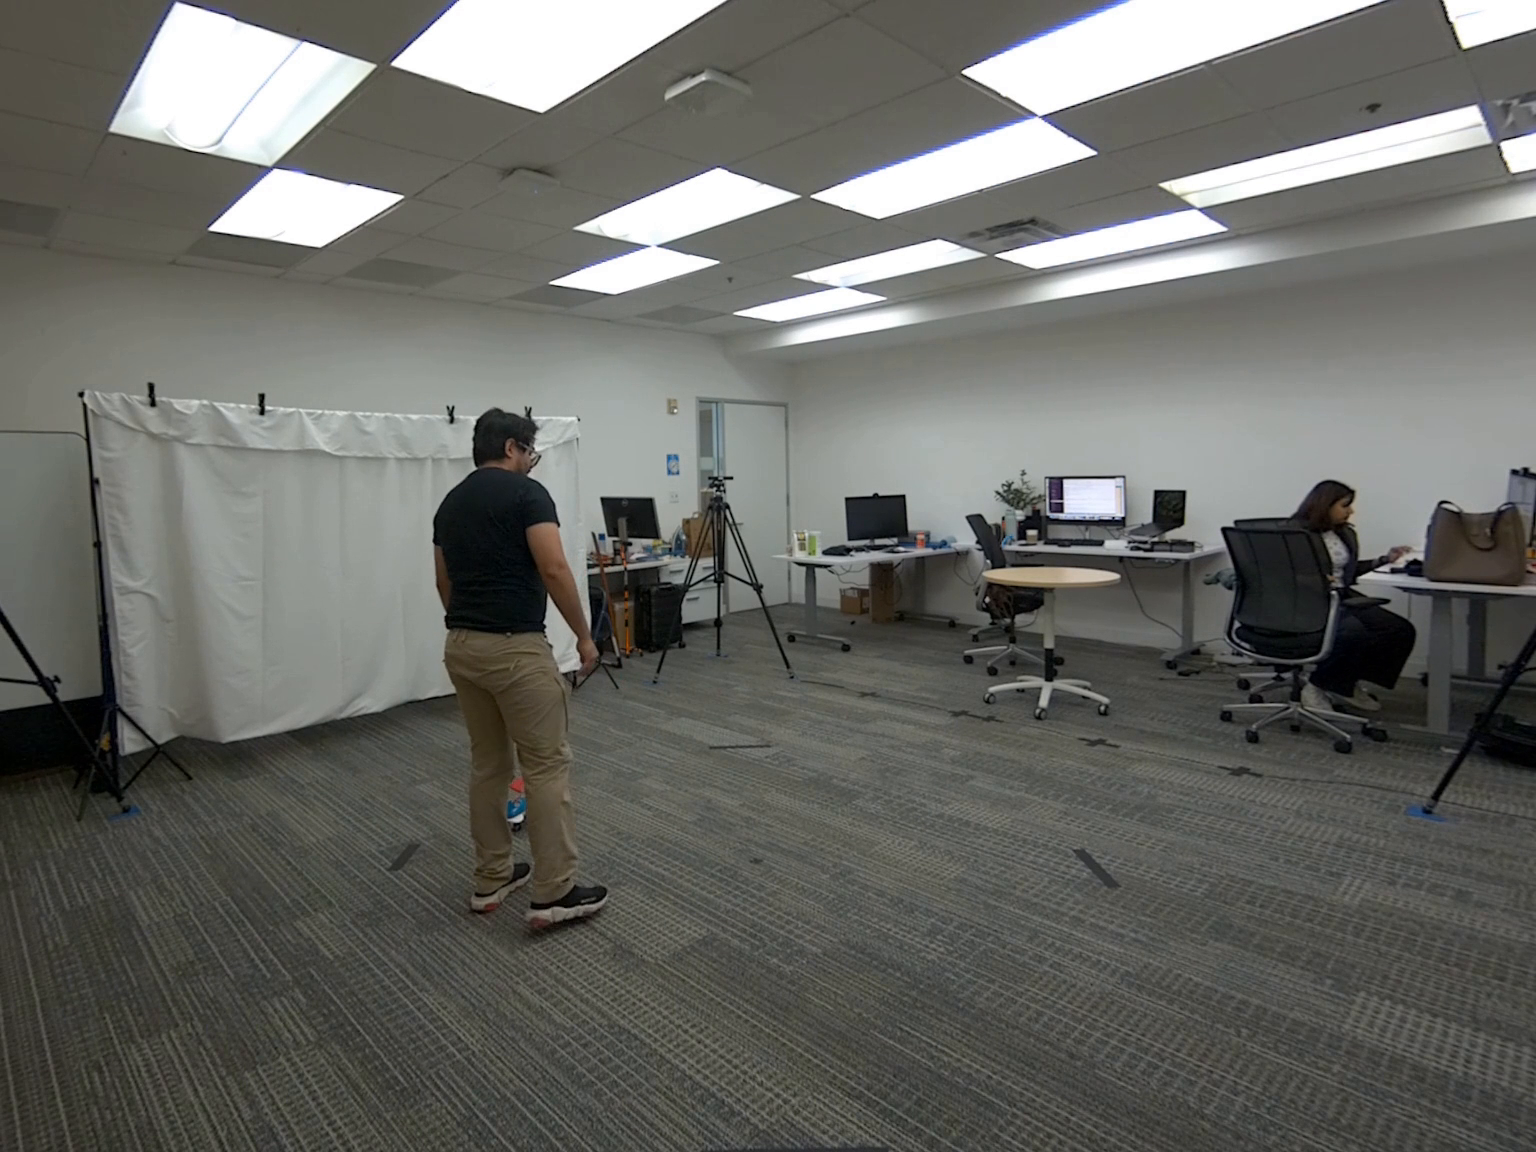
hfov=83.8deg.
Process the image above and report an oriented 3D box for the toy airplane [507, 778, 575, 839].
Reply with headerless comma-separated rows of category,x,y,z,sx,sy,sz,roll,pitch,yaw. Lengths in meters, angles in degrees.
toy airplane,-0.952,0.941,3.494,0.252,0.156,0.259,-1,4,4
